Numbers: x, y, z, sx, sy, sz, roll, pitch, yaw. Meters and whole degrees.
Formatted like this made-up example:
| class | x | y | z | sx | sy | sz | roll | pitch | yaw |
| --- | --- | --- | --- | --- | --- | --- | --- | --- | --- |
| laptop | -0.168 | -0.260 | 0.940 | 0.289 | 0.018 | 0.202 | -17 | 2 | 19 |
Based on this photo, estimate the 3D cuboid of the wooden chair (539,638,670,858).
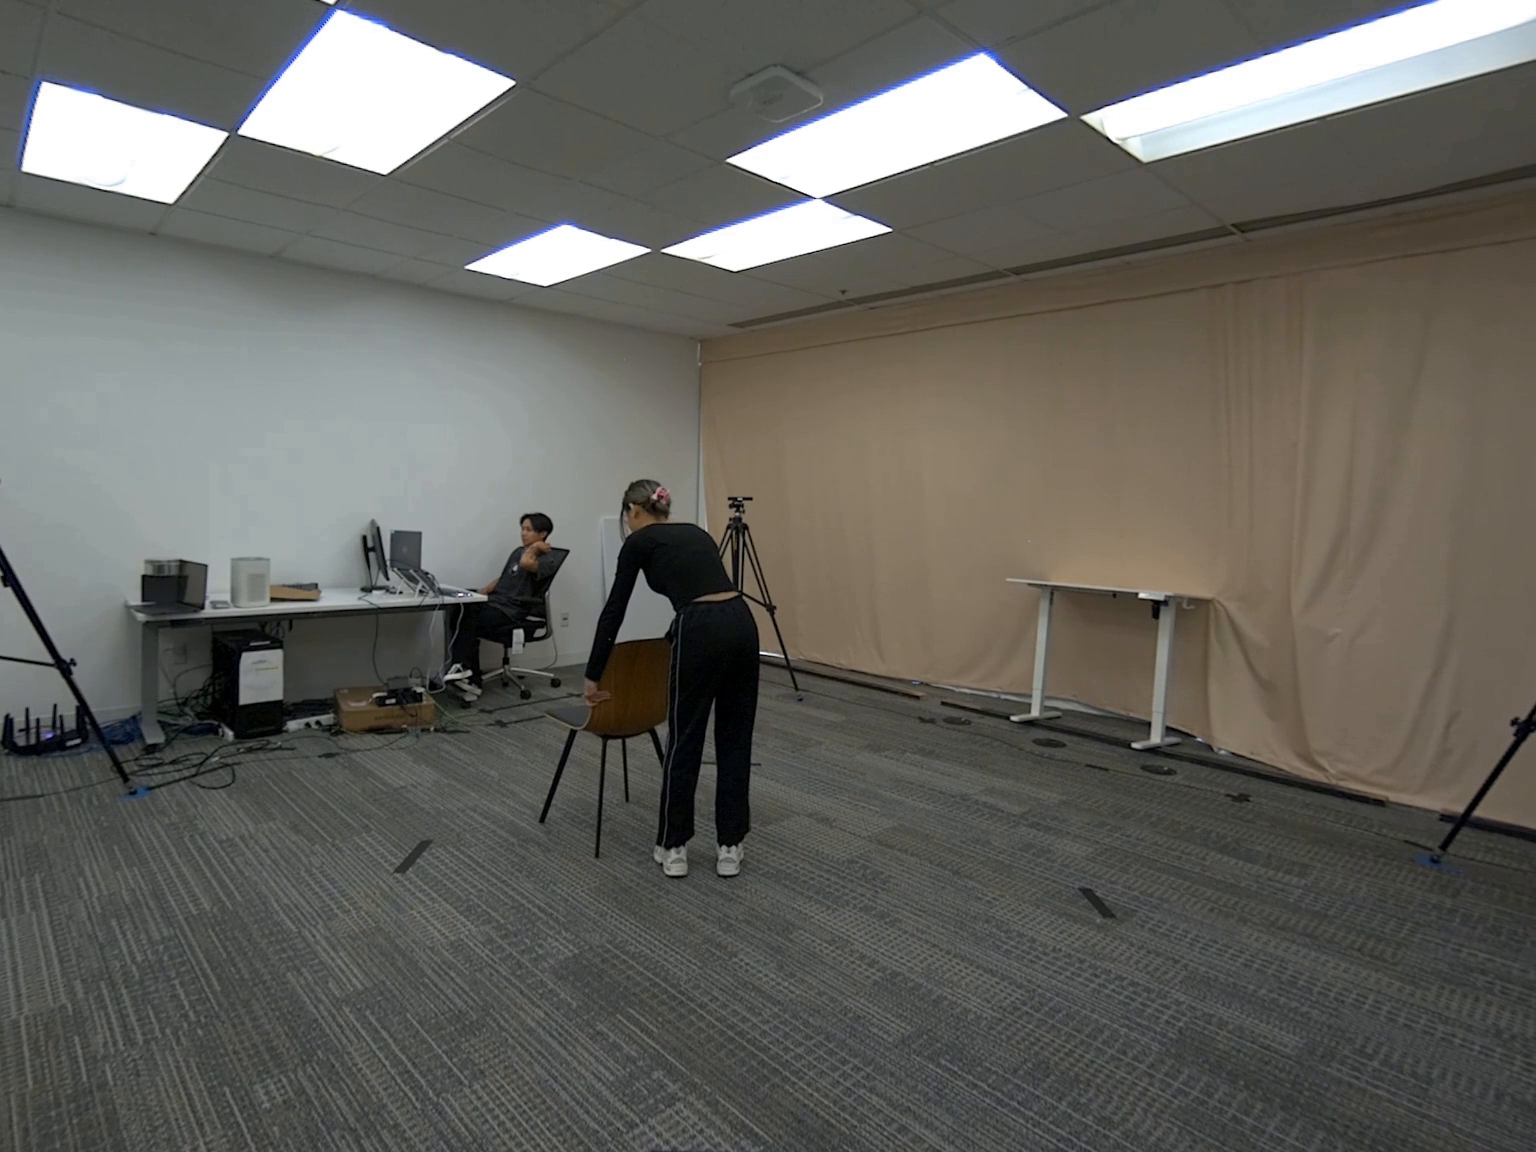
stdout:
| class | x | y | z | sx | sy | sz | roll | pitch | yaw |
| --- | --- | --- | --- | --- | --- | --- | --- | --- | --- |
| wooden chair | -0.650 | 0.630 | 3.518 | 0.467 | 0.873 | 0.538 | -2 | 10 | -41 |
